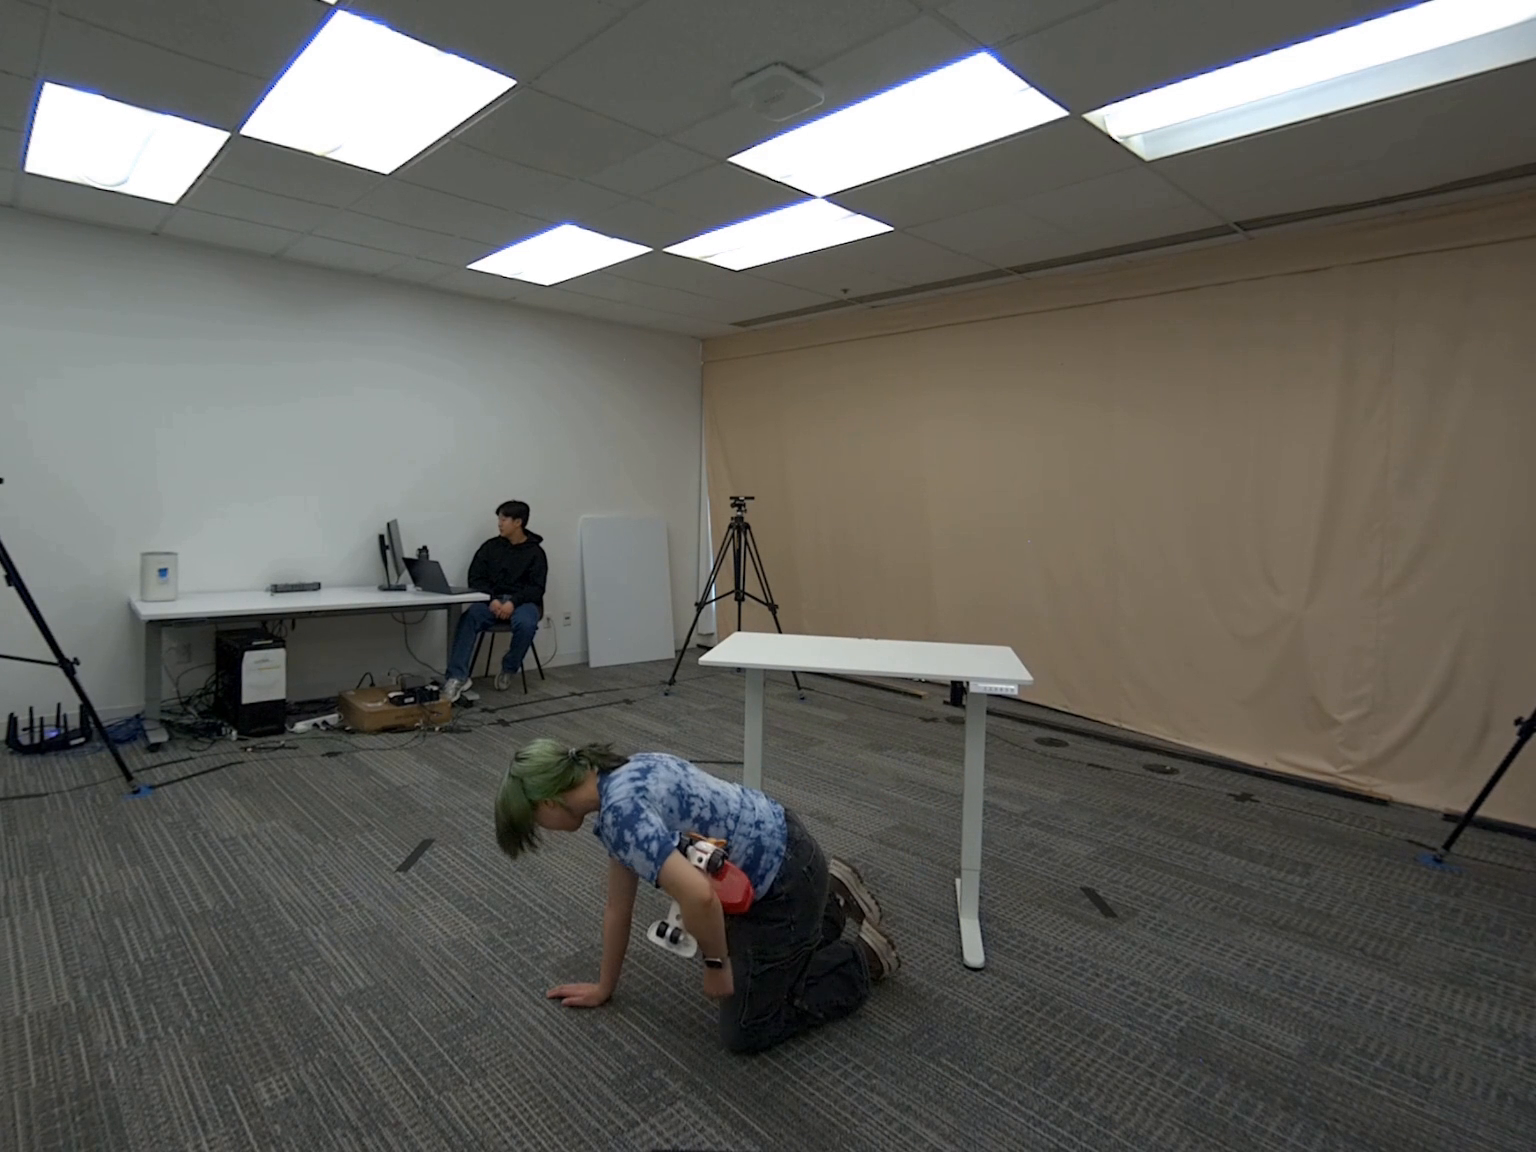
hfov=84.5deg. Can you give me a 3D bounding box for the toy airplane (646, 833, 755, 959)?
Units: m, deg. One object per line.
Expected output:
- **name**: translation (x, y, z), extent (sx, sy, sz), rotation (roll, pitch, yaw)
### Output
- **toy airplane**: translation (-0.205, 0.729, 1.965), extent (0.257, 0.259, 0.153), rotation (44, -7, 24)
